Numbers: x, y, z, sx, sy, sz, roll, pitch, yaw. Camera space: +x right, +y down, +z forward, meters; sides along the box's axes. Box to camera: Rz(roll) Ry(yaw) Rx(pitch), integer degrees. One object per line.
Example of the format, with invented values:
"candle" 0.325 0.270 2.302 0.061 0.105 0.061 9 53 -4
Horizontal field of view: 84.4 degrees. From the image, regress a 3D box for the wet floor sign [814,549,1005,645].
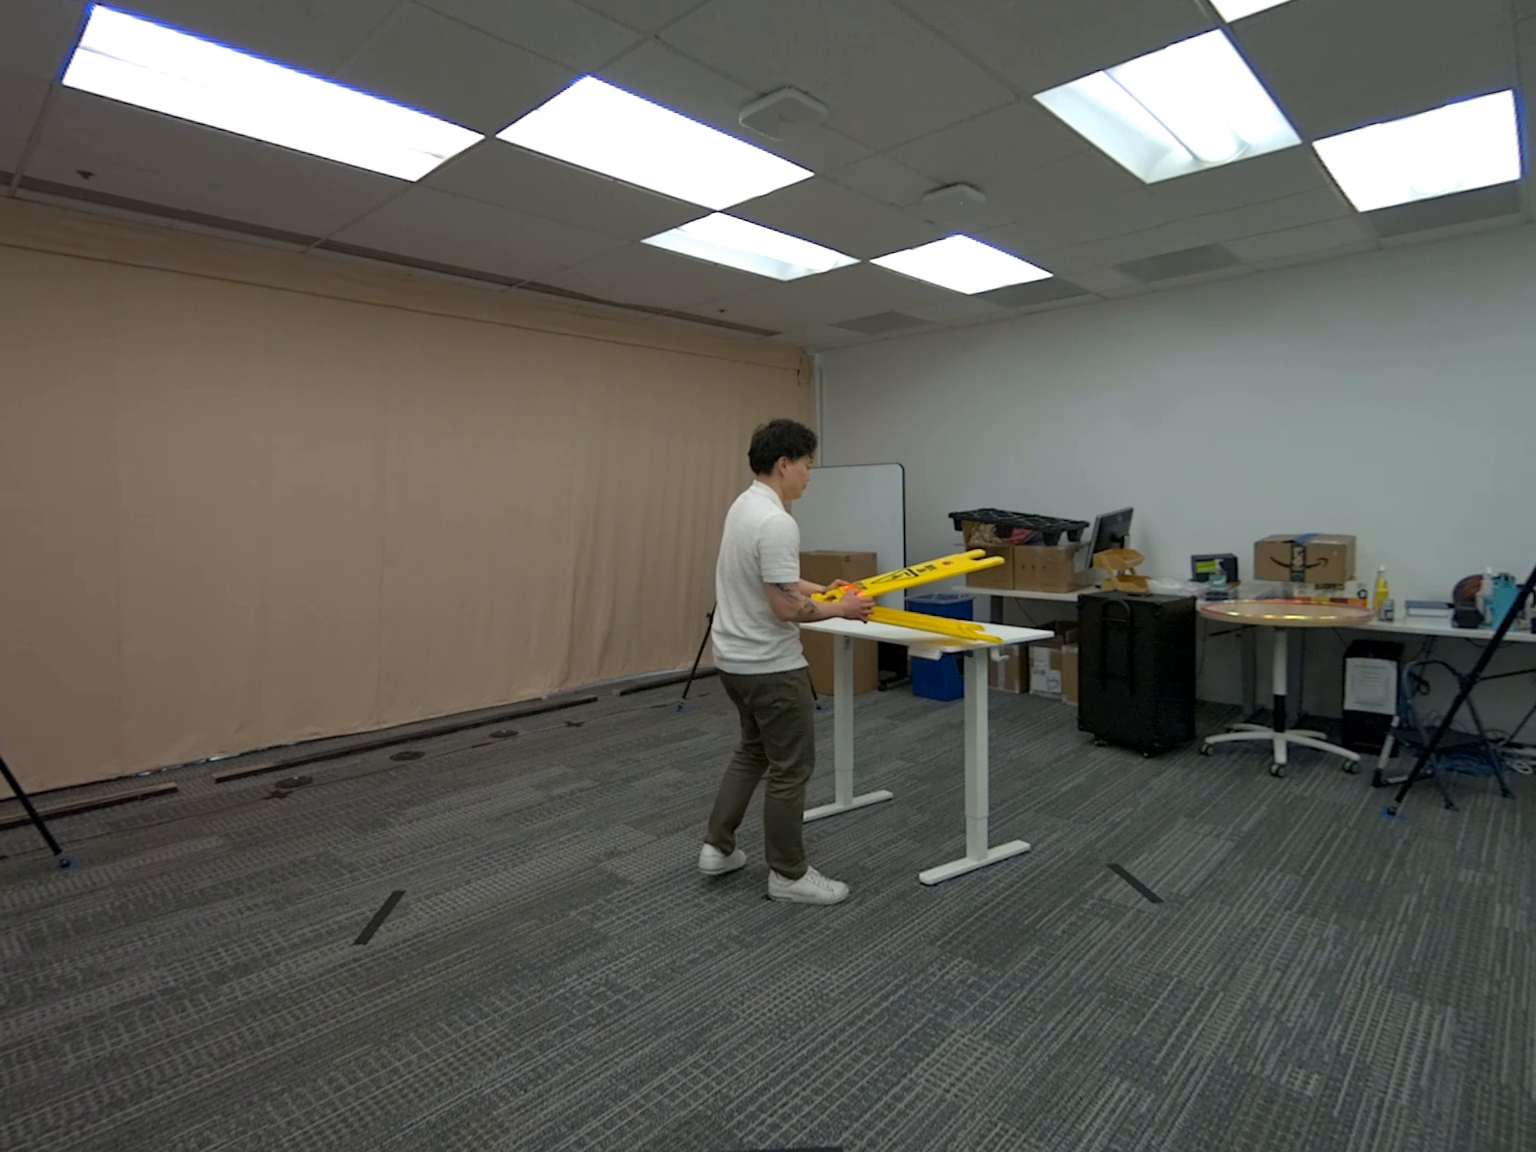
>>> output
"wet floor sign" 0.482 0.083 3.016 0.647 0.288 0.283 -2 8 2
